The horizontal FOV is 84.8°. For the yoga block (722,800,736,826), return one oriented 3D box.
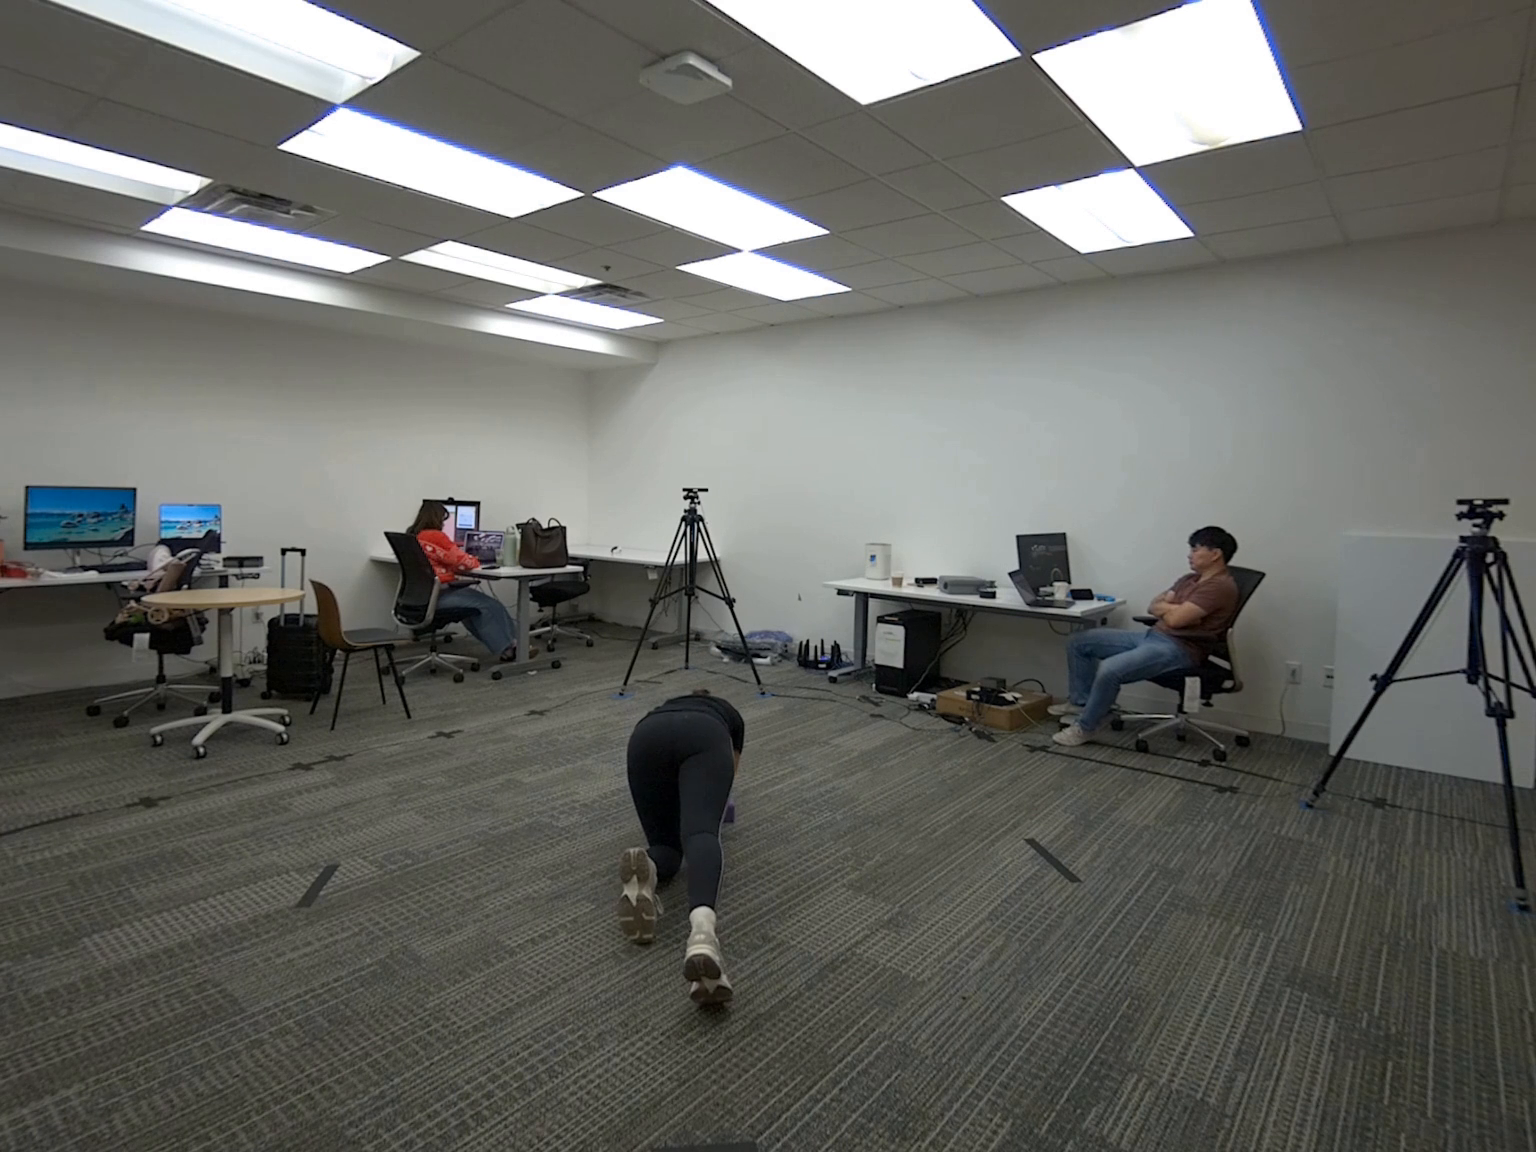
[{"bbox_3d":[-0.269,0.974,3.609,0.228,0.076,0.150,1,4,-5],"label":"yoga block"}]
